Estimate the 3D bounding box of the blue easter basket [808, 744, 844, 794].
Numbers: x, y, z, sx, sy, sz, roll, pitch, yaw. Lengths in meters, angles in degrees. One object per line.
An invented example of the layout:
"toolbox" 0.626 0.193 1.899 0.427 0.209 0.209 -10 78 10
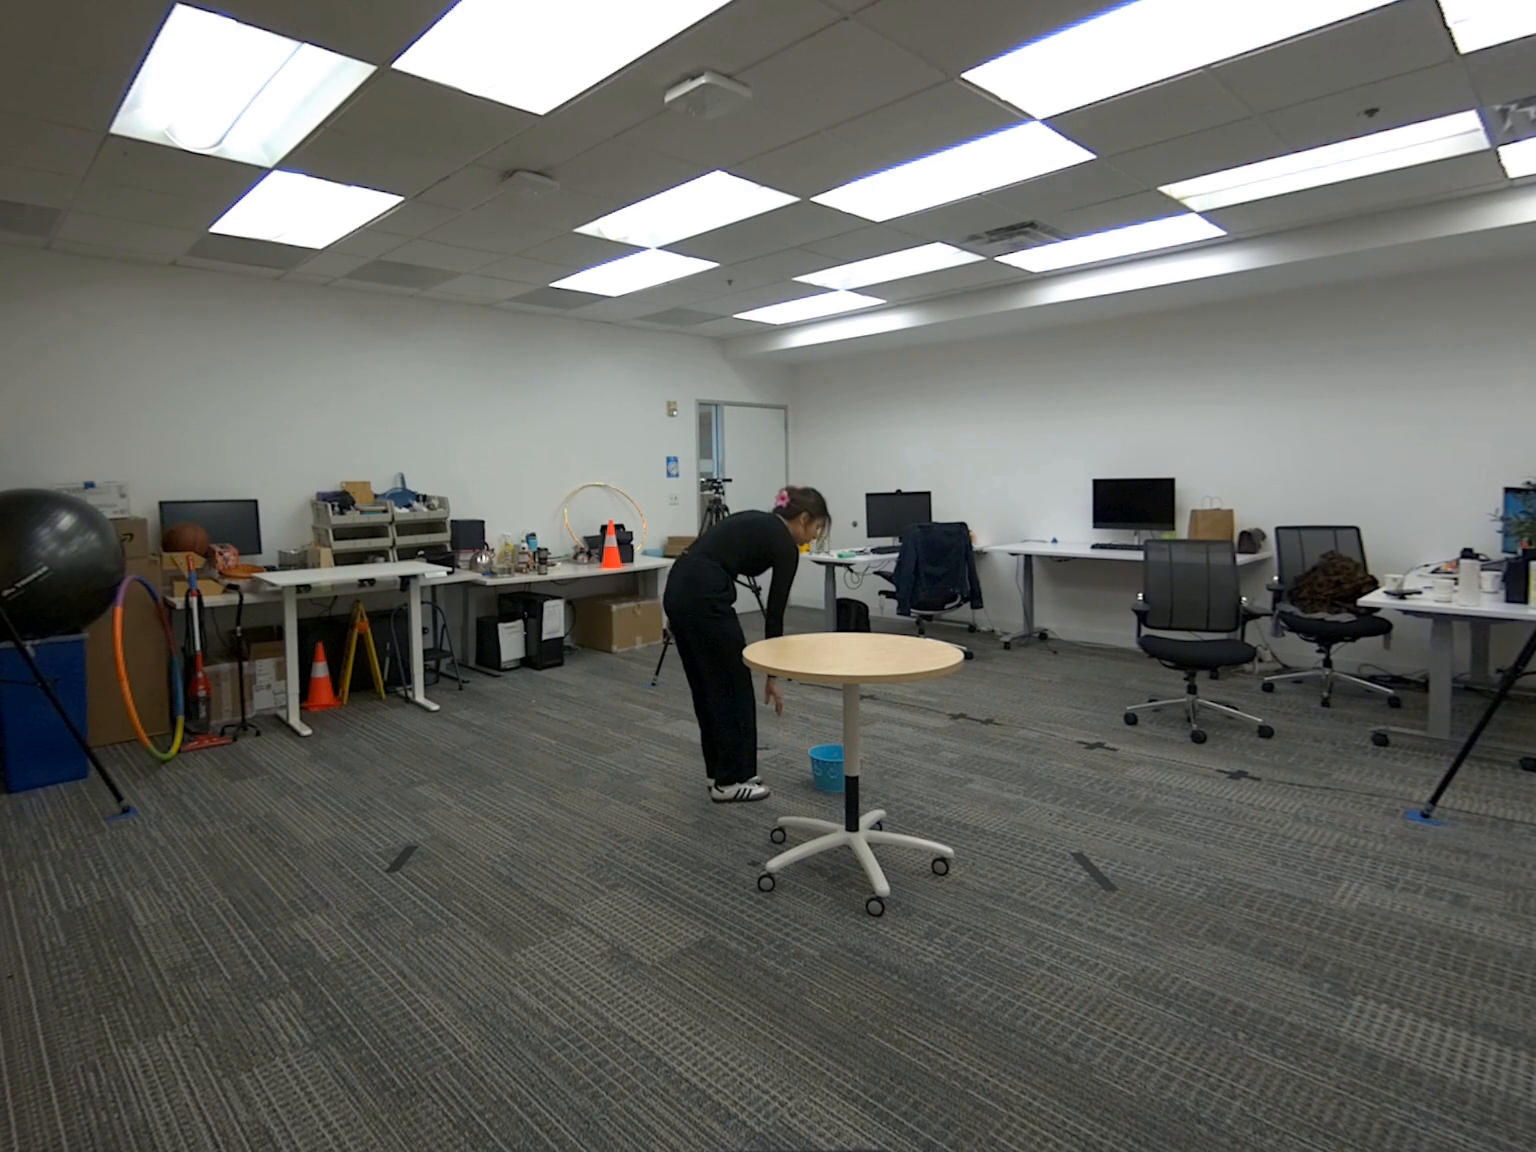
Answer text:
"blue easter basket" 0.303 0.870 3.876 0.243 0.155 0.245 -1 6 -2
